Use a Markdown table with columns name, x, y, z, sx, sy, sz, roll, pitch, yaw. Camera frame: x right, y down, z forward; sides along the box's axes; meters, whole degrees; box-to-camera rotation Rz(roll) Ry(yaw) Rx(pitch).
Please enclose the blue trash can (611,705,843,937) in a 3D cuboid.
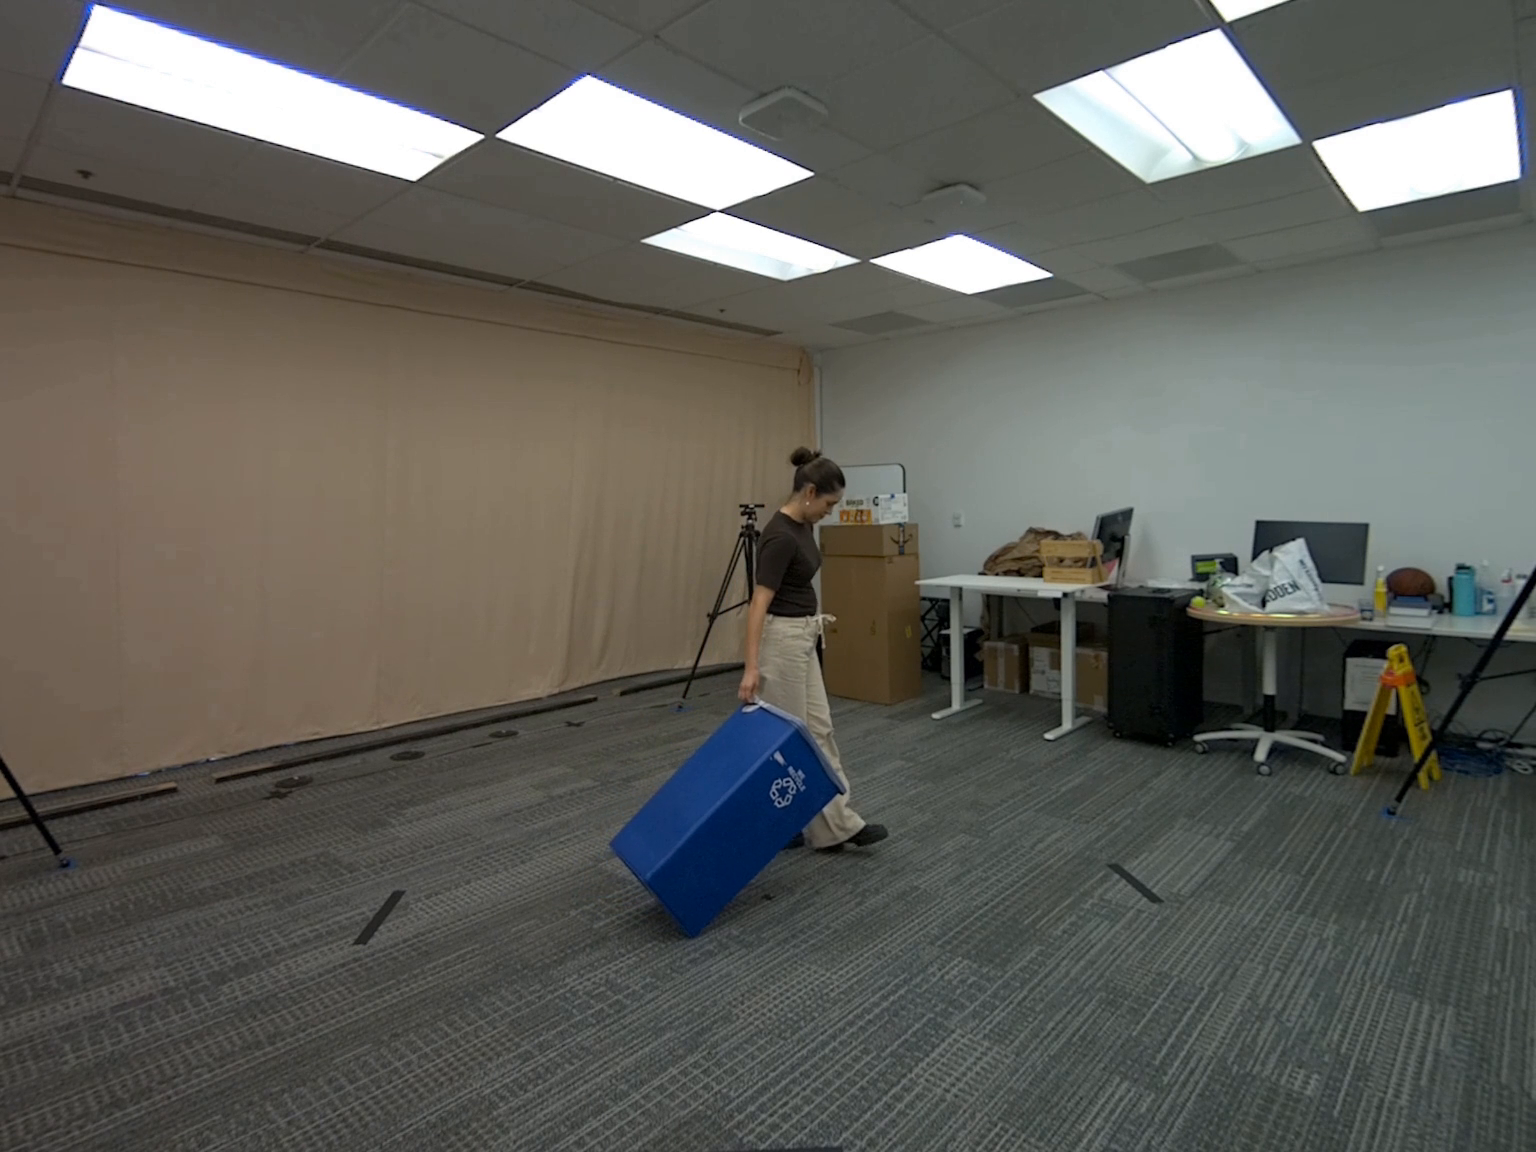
| name | x | y | z | sx | sy | sz | roll | pitch | yaw |
| --- | --- | --- | --- | --- | --- | --- | --- | --- | --- |
| blue trash can | -0.143 | 0.818 | 2.900 | 0.708 | 0.365 | 0.390 | -43 | 26 | -19 |
